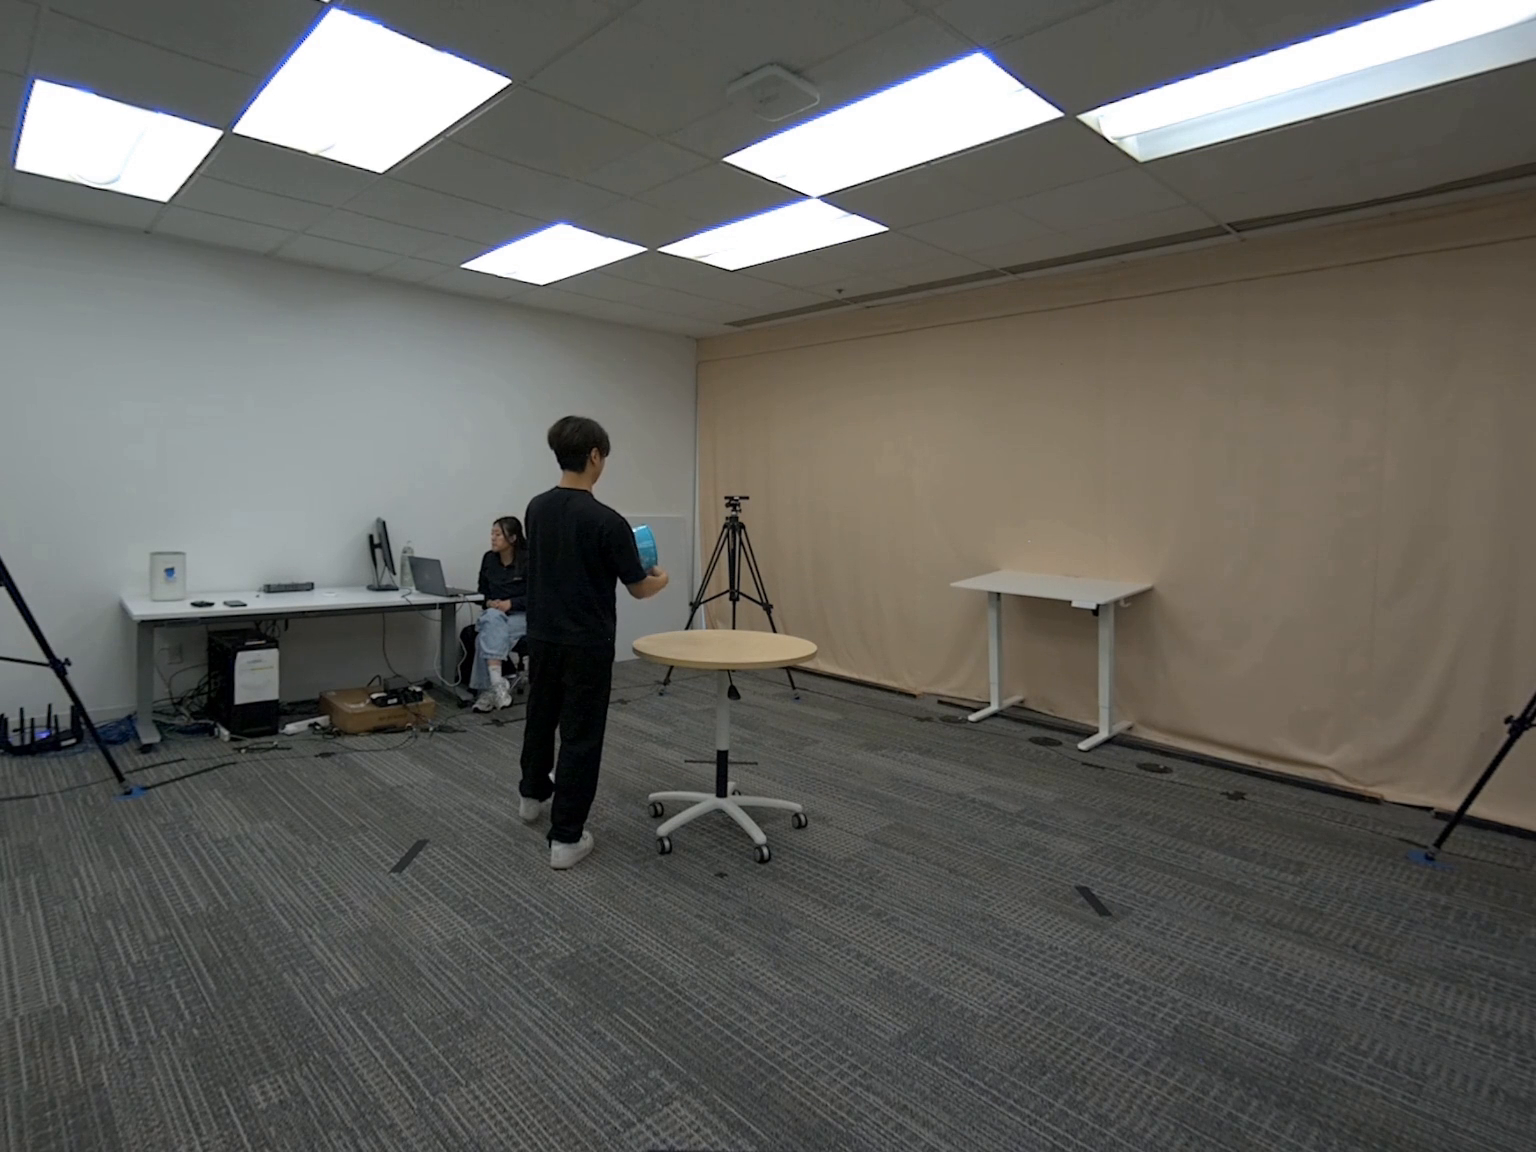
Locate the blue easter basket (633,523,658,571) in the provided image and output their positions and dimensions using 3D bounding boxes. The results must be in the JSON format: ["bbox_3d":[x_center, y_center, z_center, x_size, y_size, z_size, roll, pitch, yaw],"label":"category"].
[{"bbox_3d":[-0.567,-0.085,3.504,0.153,0.242,0.249,-11,9,-25],"label":"blue easter basket"}]
